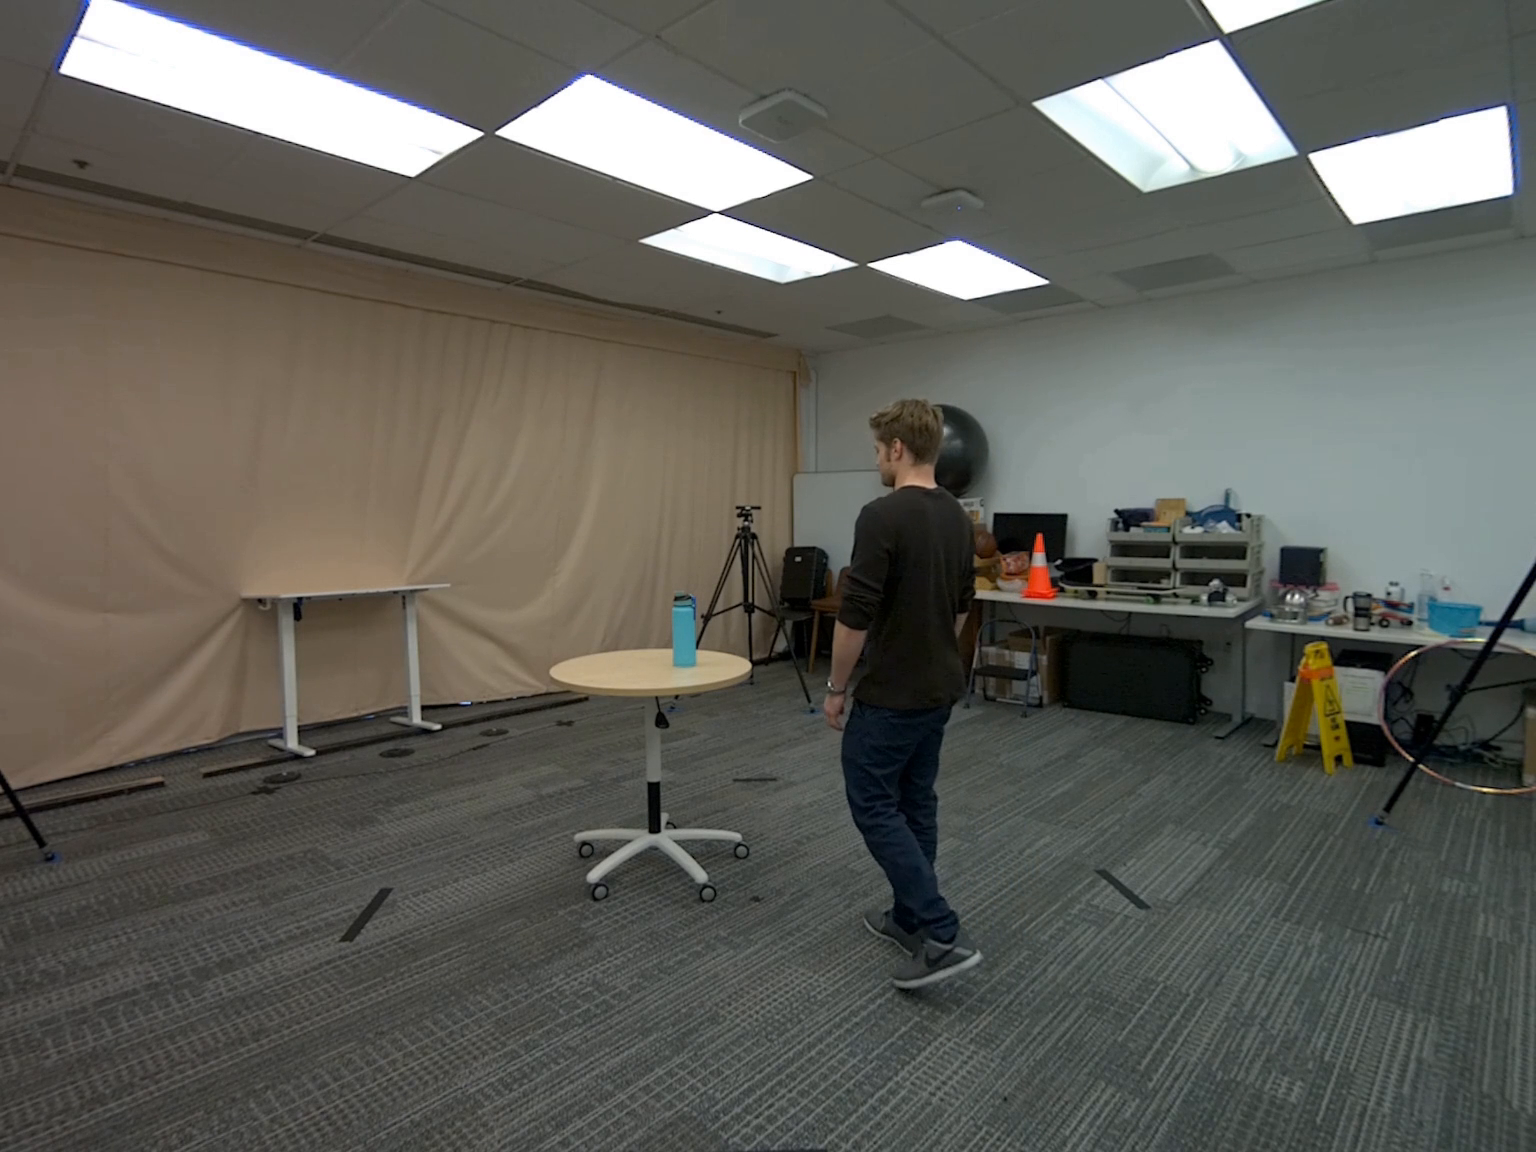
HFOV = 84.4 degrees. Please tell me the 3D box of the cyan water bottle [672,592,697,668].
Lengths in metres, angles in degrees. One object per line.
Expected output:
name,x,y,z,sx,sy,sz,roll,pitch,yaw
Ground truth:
cyan water bottle,-0.319,0.204,3.228,0.092,0.283,0.092,1,2,-2
